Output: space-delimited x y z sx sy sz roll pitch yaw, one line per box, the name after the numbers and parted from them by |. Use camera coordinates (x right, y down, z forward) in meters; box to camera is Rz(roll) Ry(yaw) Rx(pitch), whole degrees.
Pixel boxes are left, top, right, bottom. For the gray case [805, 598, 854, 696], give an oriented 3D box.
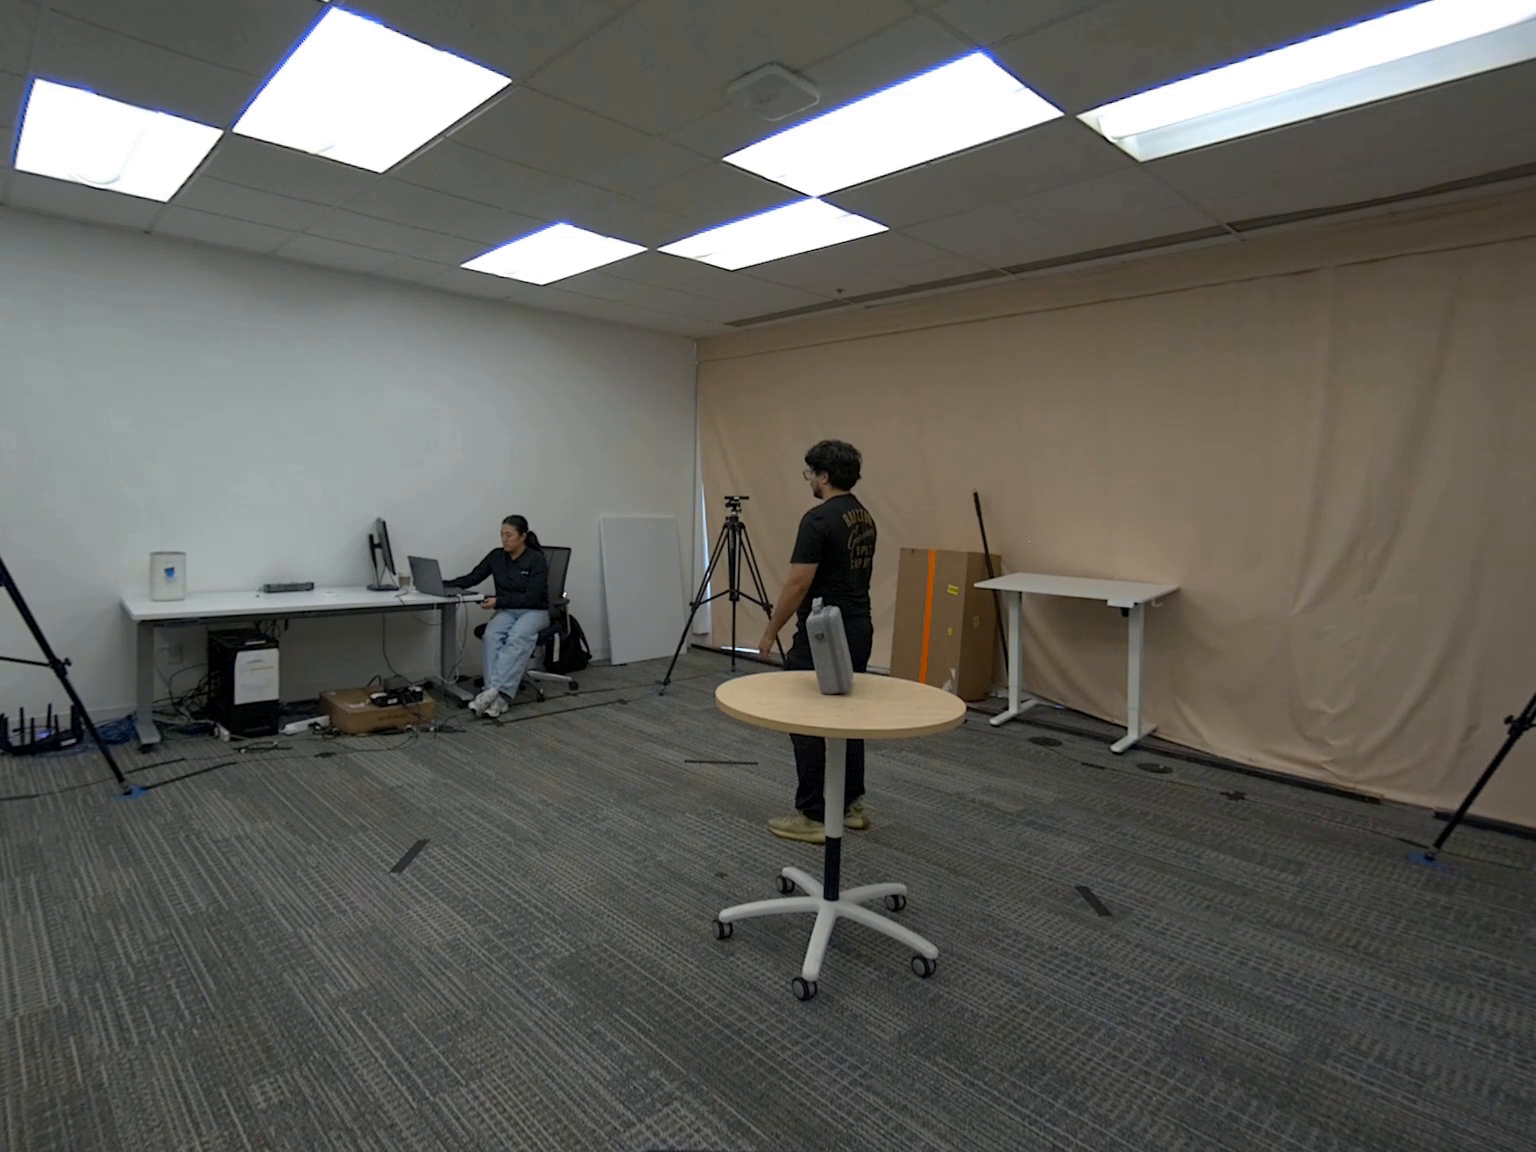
0.178 0.228 2.715 0.105 0.260 0.256 -10 4 6 | gray case
